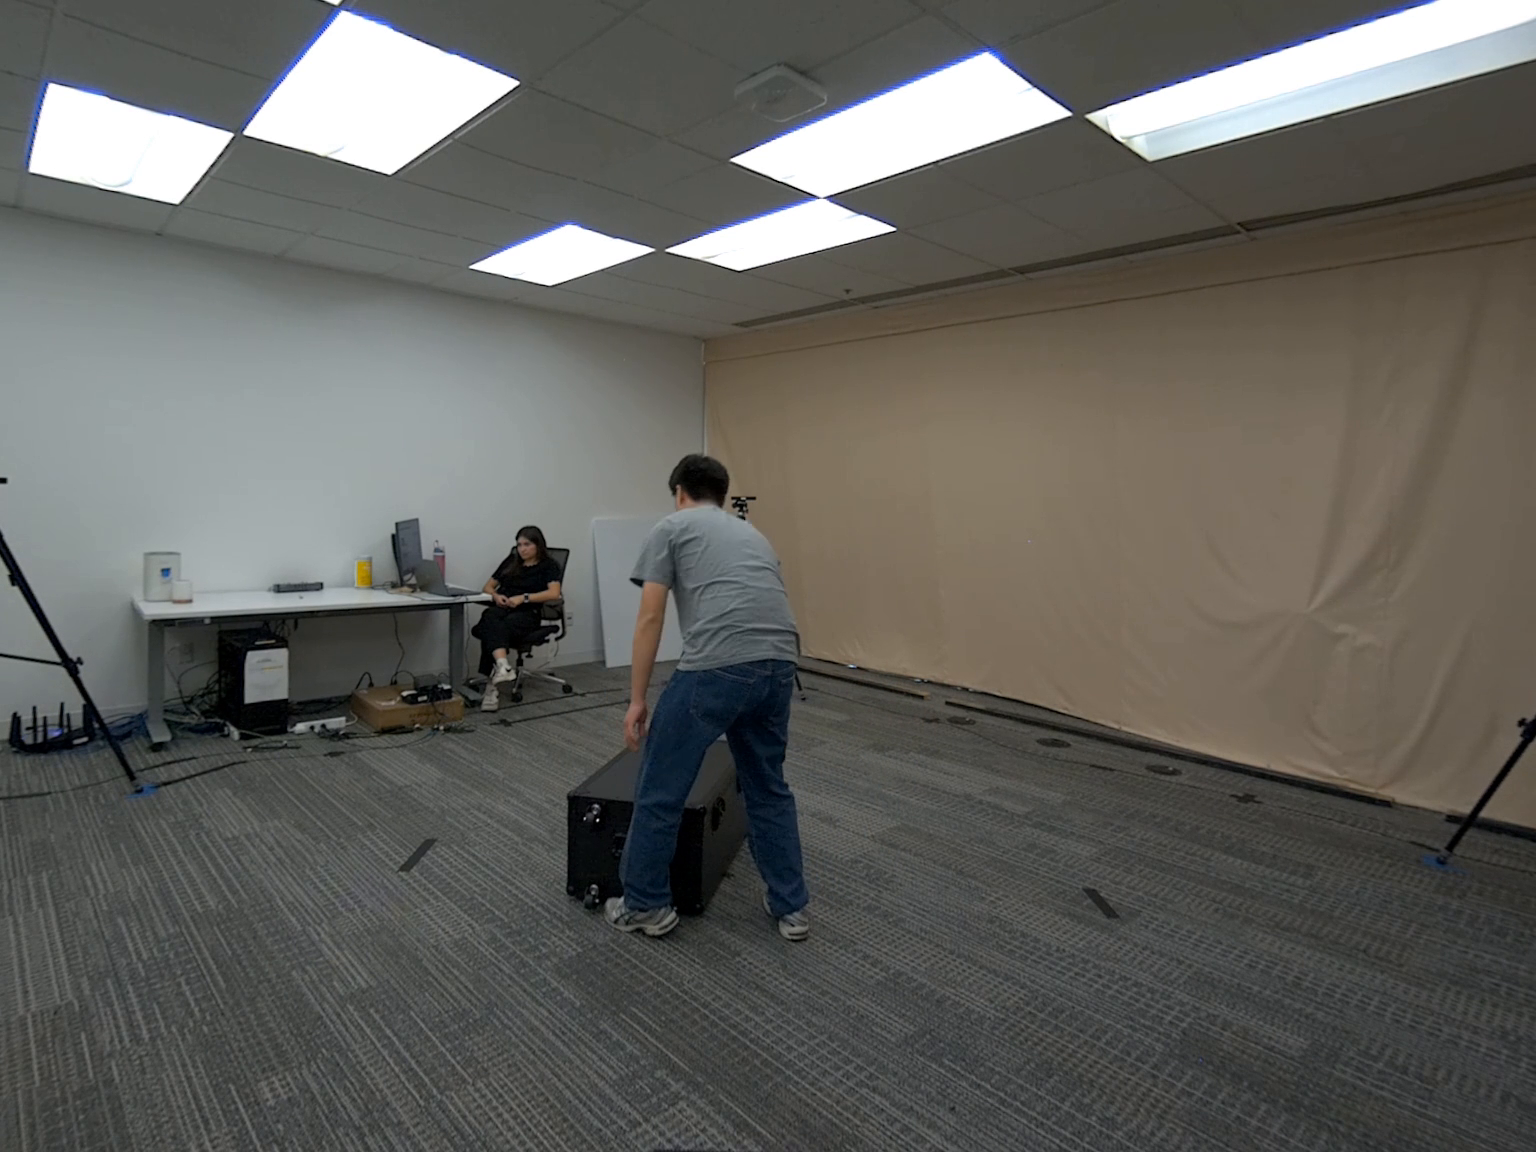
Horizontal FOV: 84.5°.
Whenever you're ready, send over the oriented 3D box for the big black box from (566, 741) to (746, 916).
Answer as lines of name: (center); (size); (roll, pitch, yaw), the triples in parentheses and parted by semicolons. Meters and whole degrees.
big black box: (-0.387, 0.900, 3.160); (0.527, 0.395, 0.855); (3, 6, 12)
